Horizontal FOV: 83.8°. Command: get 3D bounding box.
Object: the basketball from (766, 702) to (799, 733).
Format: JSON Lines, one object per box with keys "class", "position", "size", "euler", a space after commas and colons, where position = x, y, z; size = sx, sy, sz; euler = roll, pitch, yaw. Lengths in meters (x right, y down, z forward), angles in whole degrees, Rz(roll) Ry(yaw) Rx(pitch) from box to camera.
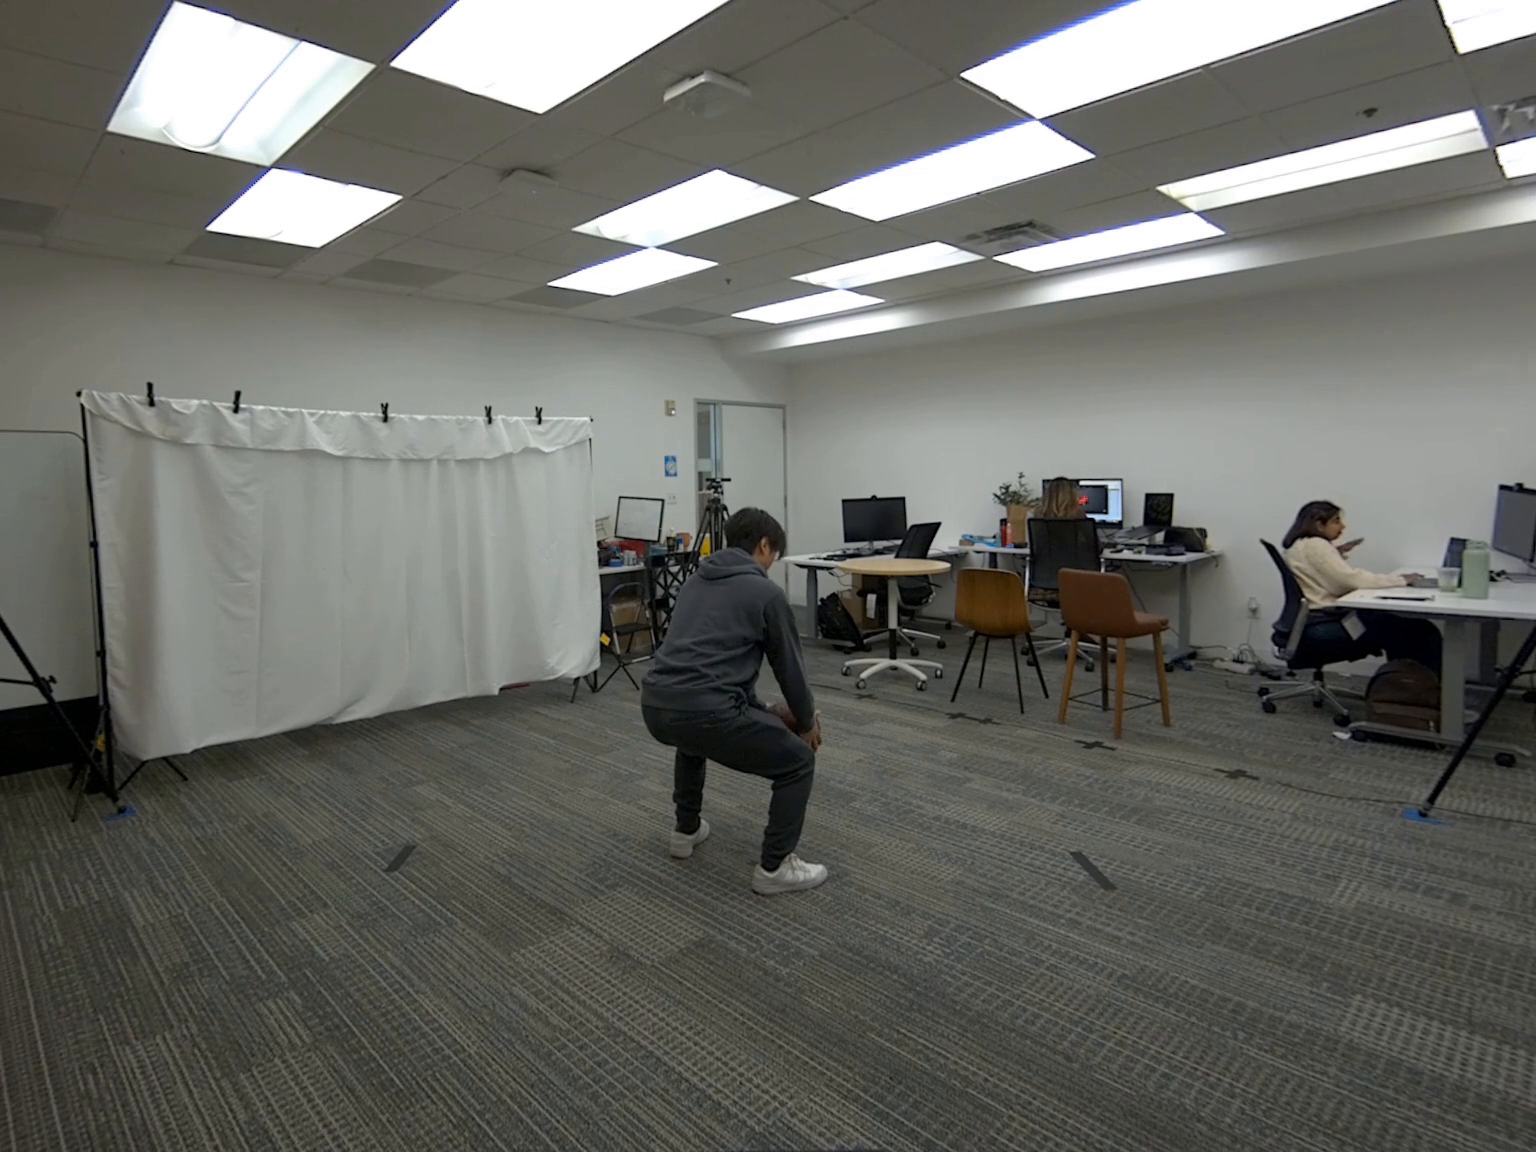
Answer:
{"class": "basketball", "position": [0.093, 0.594, 3.283], "size": [0.236, 0.235, 0.237], "euler": [-1, 5, -2]}
